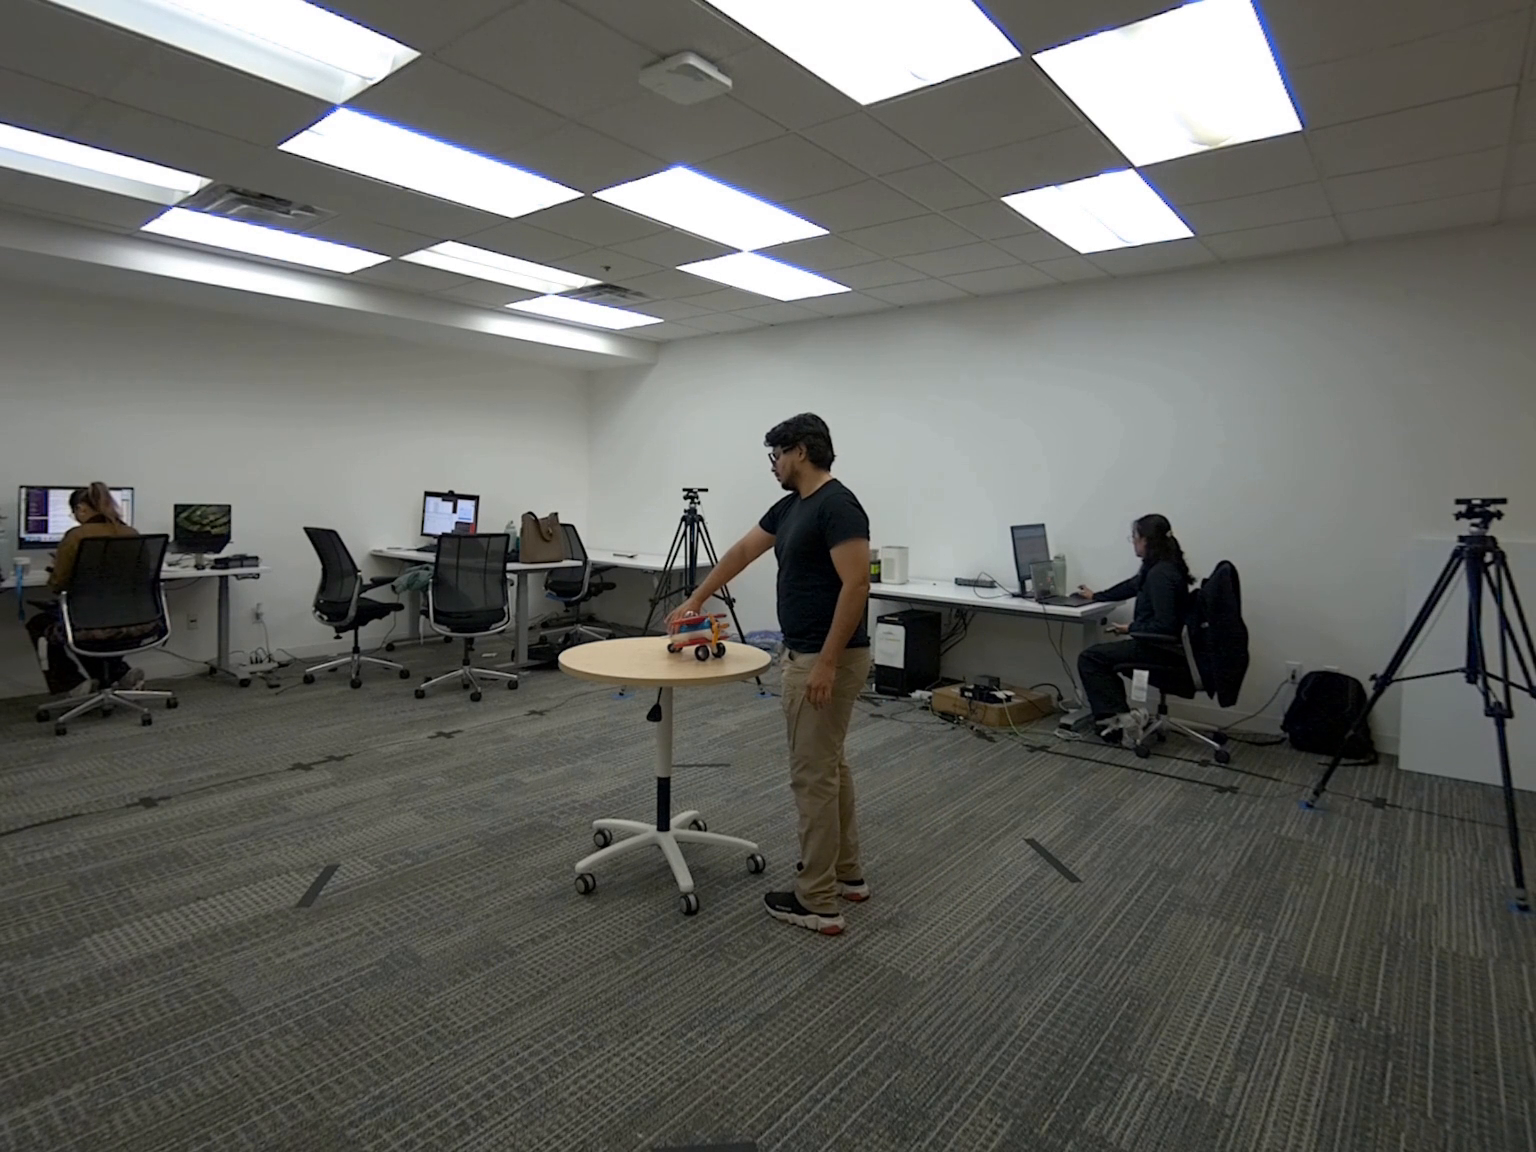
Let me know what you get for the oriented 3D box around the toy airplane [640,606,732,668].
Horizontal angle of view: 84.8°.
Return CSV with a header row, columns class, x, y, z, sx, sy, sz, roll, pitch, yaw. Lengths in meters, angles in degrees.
class,x,y,z,sx,sy,sz,roll,pitch,yaw
toy airplane,-0.296,0.216,3.064,0.263,0.156,0.248,4,6,14
